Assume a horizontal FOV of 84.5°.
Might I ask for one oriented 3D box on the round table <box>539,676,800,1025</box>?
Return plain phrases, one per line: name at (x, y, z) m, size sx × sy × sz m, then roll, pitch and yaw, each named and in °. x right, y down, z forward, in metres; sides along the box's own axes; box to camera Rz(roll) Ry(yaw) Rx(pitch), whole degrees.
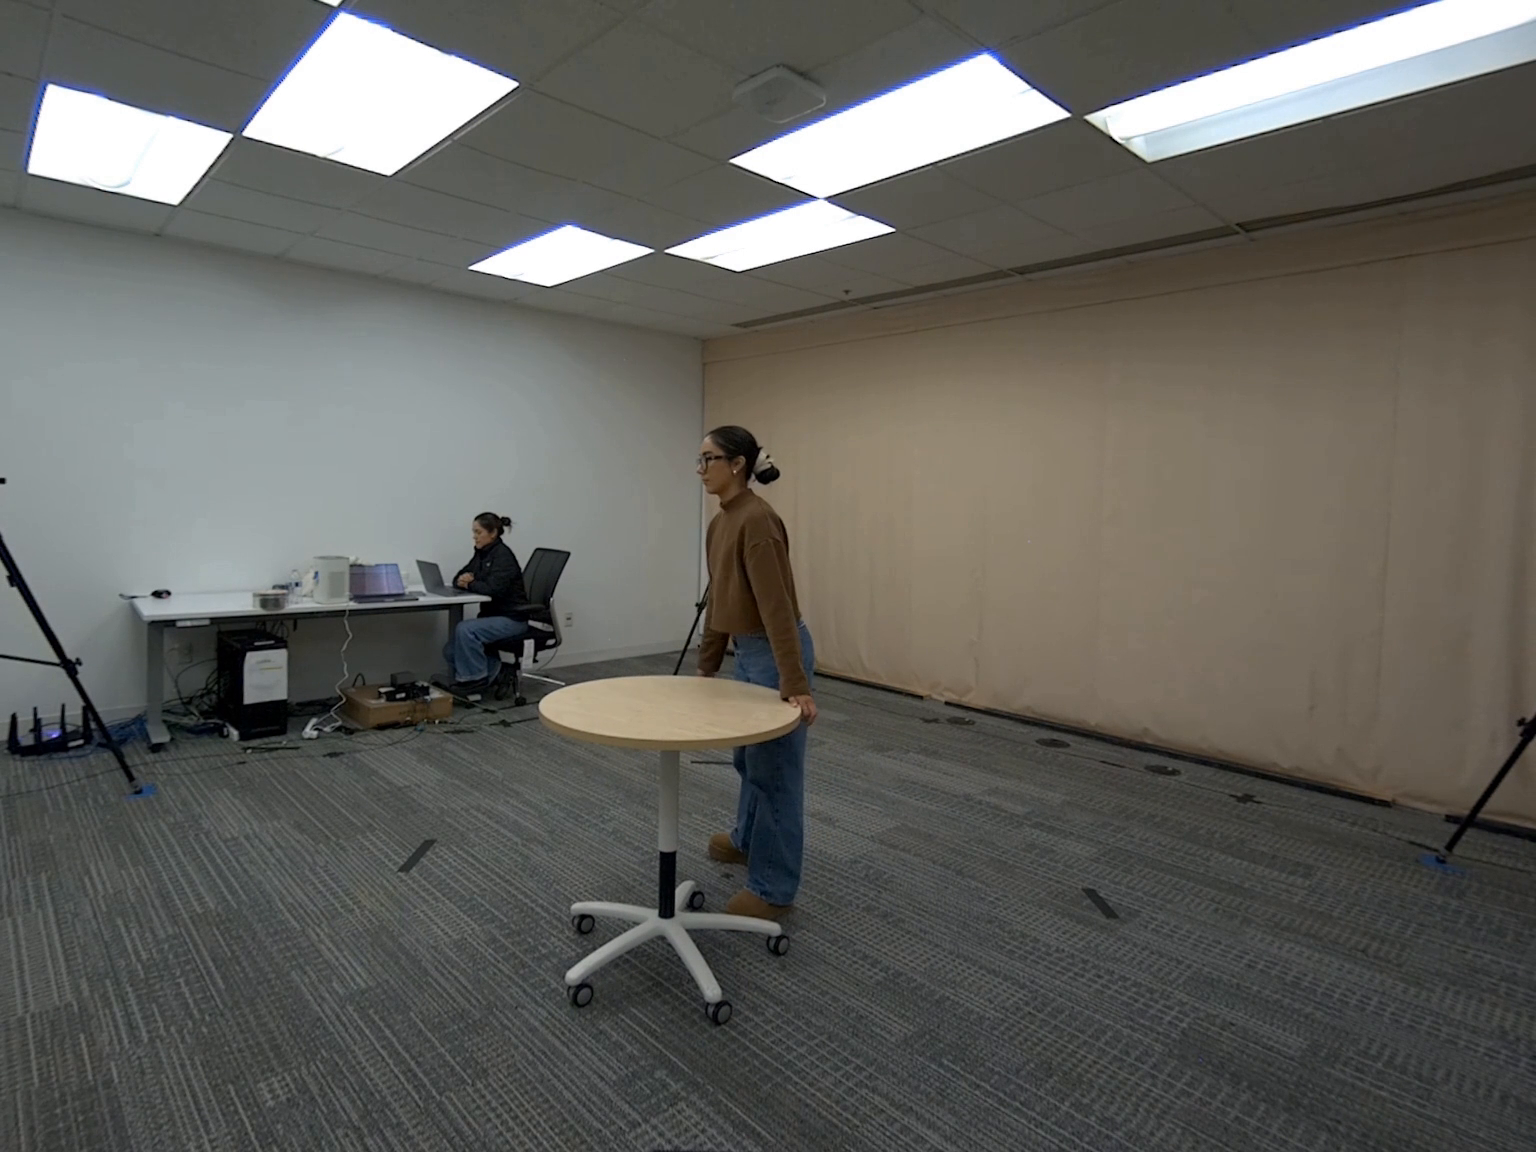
round table at (-0.298, 0.770, 2.489) m, size 0.784 × 0.784 × 0.788 m, roll 1°, pitch 4°, yaw -1°
